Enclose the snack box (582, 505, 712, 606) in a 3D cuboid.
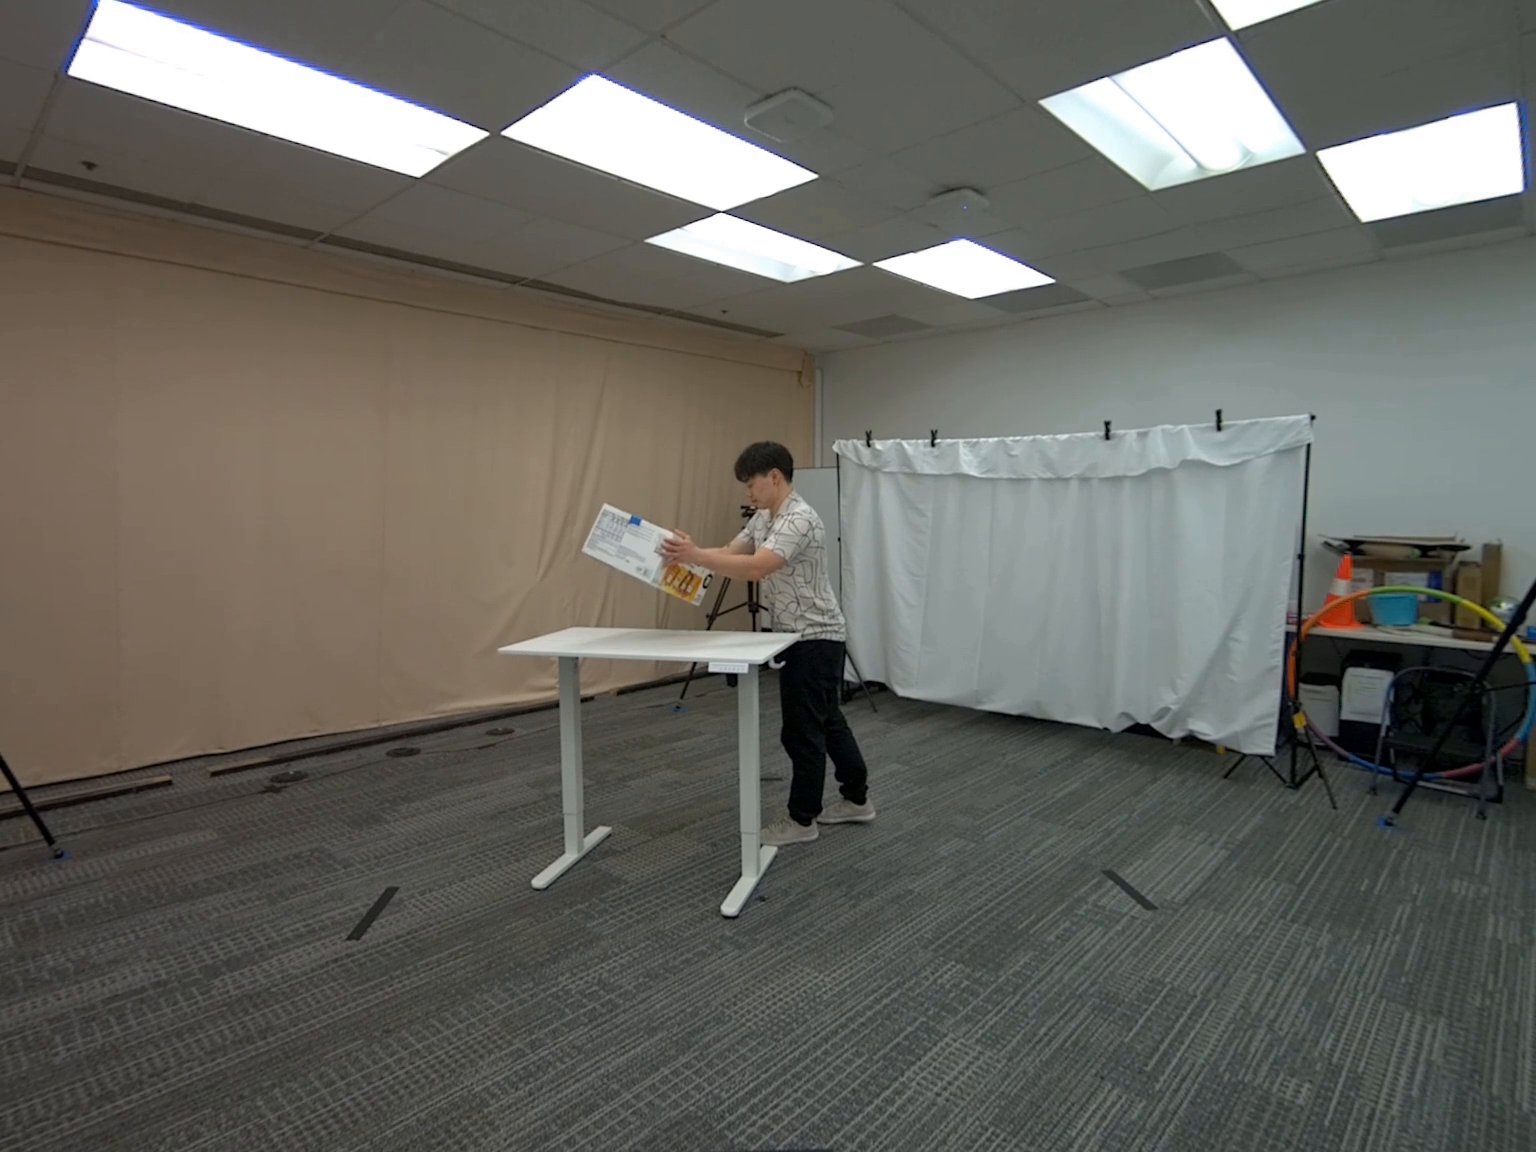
[{"bbox_3d":[-0.442,-0.074,3.243,0.351,0.206,0.393,23,-4,27],"label":"snack box"}]
